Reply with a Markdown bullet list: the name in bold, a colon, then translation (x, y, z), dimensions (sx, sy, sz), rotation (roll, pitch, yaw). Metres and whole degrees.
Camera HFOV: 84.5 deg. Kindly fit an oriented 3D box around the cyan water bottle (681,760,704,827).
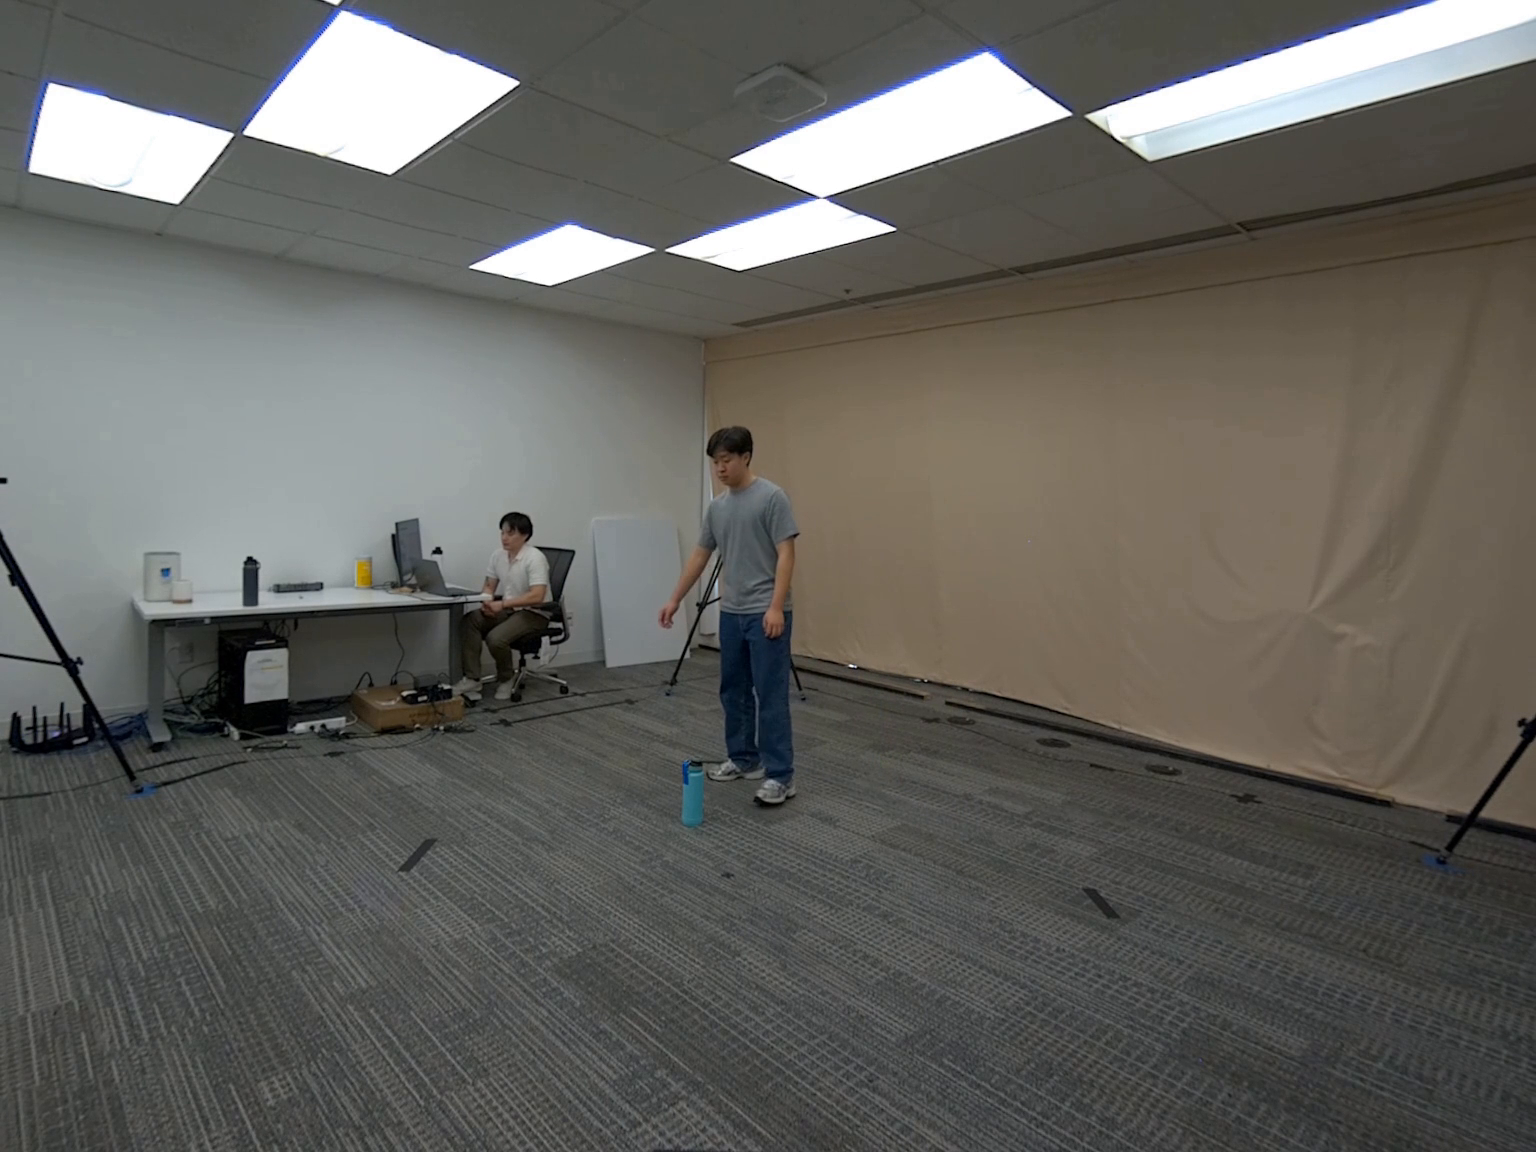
- **cyan water bottle**: translation (-0.333, 0.917, 3.600), dimensions (0.092, 0.282, 0.093), rotation (1, 5, -1)
